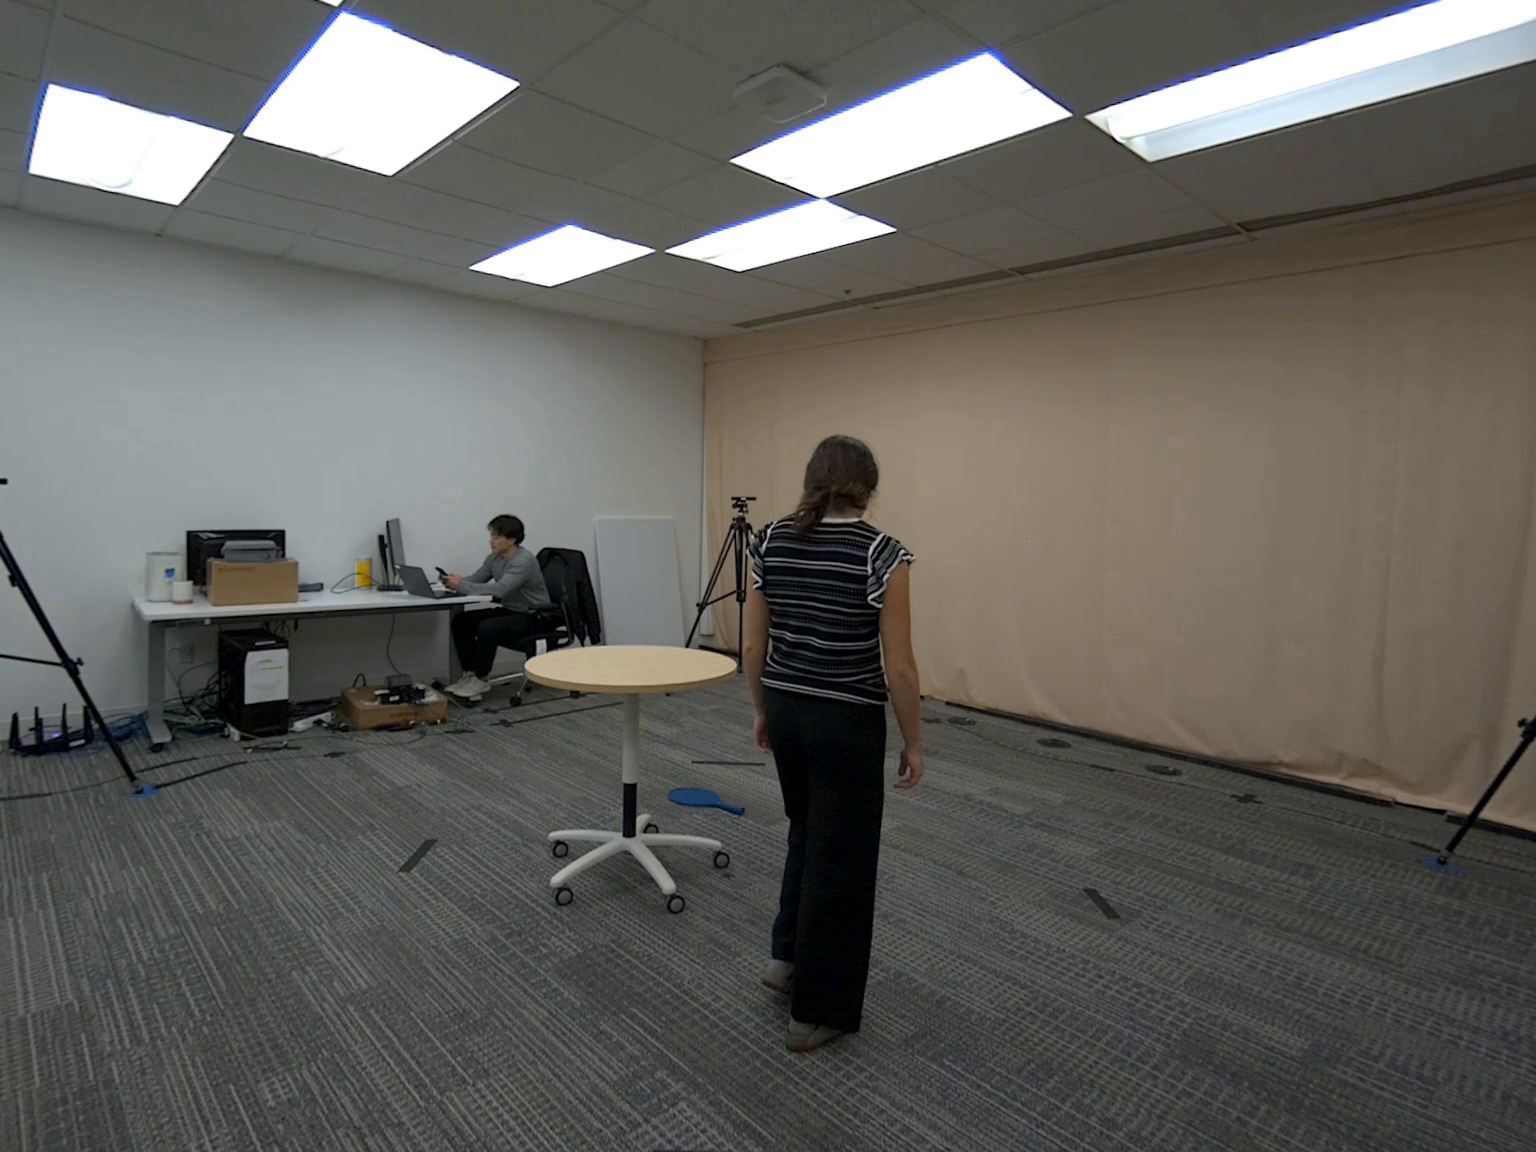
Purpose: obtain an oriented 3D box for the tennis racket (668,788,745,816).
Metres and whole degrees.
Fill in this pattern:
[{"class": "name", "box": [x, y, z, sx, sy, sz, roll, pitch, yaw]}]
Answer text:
[{"class": "tennis racket", "box": [-0.289, 1.027, 3.855, 0.443, 0.032, 0.209, 4, 5, 39]}]
